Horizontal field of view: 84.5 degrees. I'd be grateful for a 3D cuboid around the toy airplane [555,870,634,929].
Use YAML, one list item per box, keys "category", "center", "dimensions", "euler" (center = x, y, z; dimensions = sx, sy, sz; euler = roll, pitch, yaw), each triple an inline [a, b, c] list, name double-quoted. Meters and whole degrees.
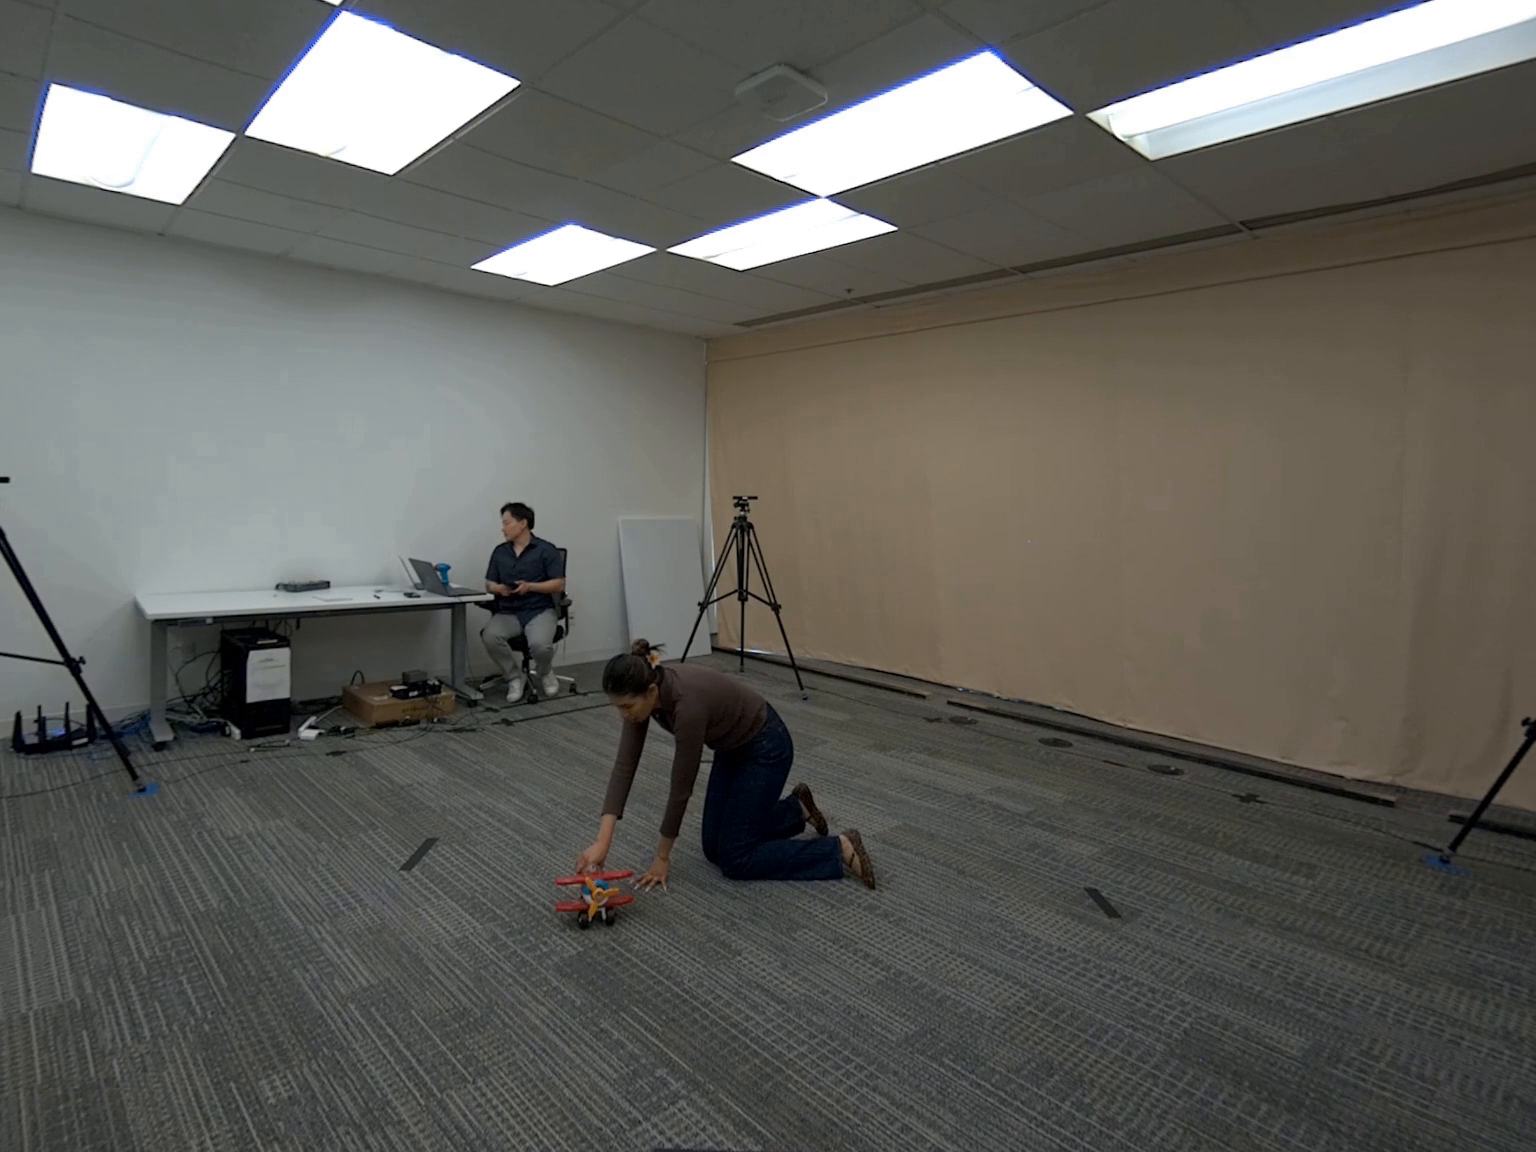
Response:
- category: "toy airplane"
  center: [-0.608, 1.052, 2.782]
  dimensions: [0.266, 0.156, 0.245]
  euler: [8, 9, 43]
